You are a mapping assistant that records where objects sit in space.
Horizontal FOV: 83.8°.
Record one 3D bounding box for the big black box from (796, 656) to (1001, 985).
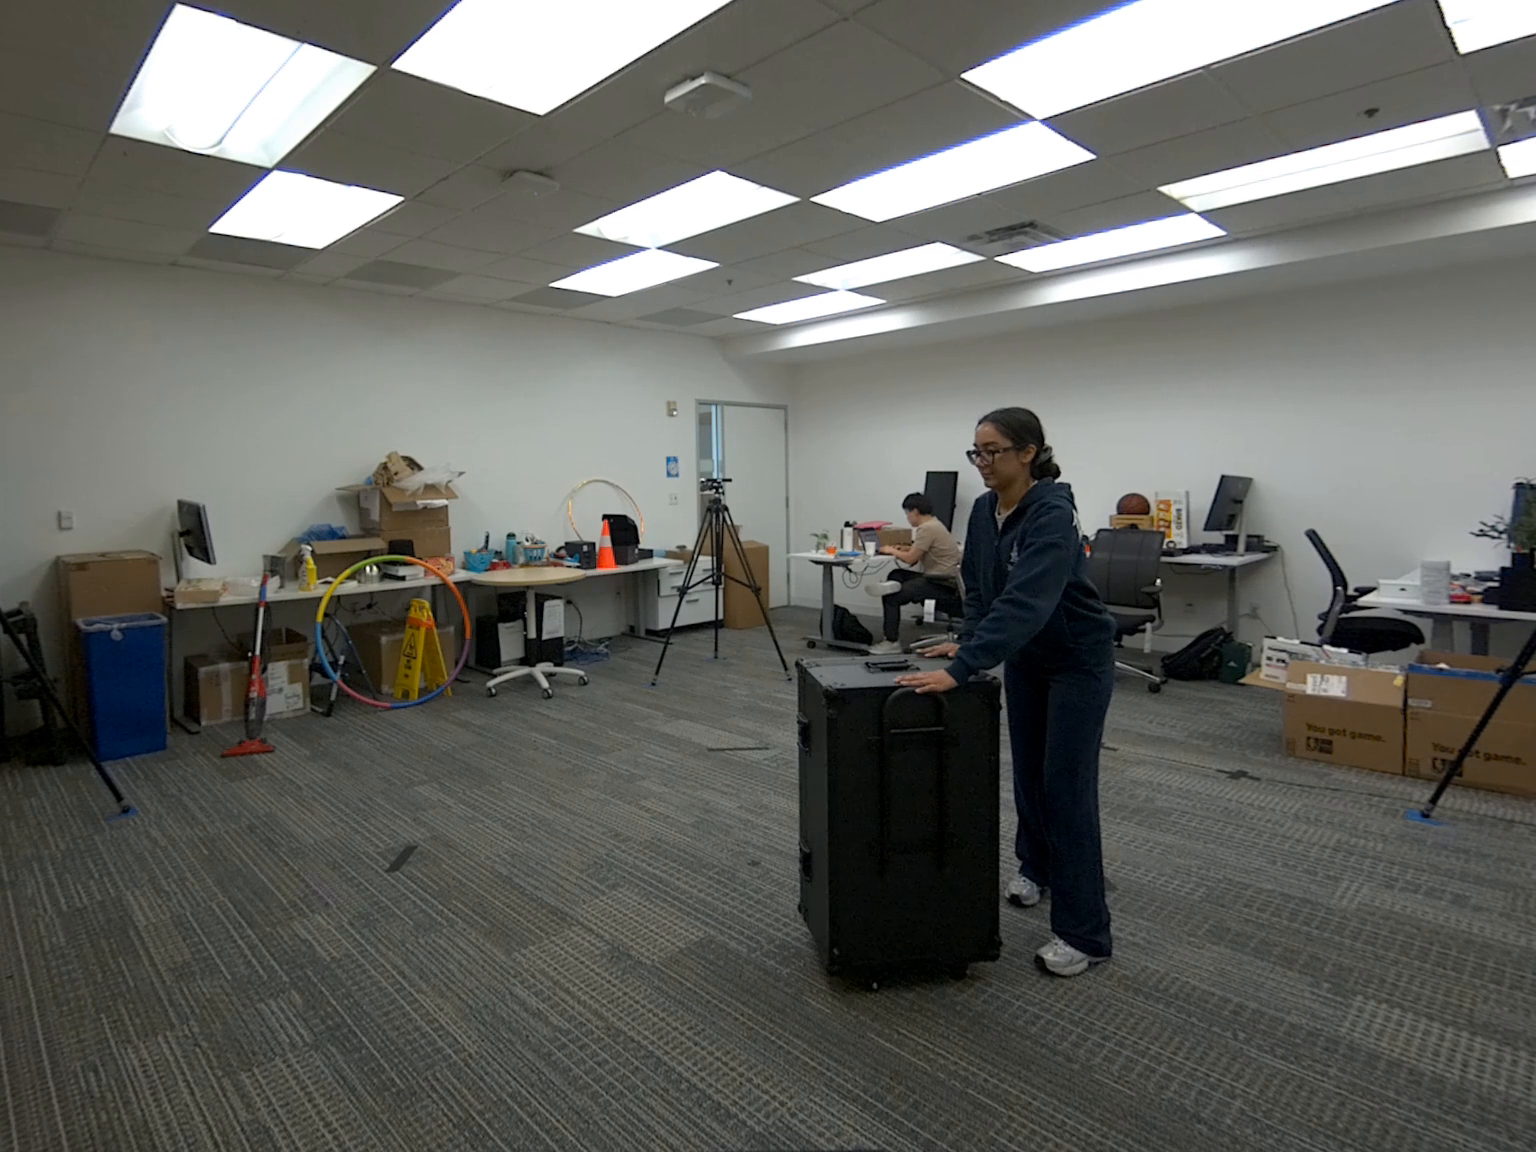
[{"bbox_3d":[0.373,0.686,2.441,0.517,0.857,0.401,-1,5,-9],"label":"big black box"}]
